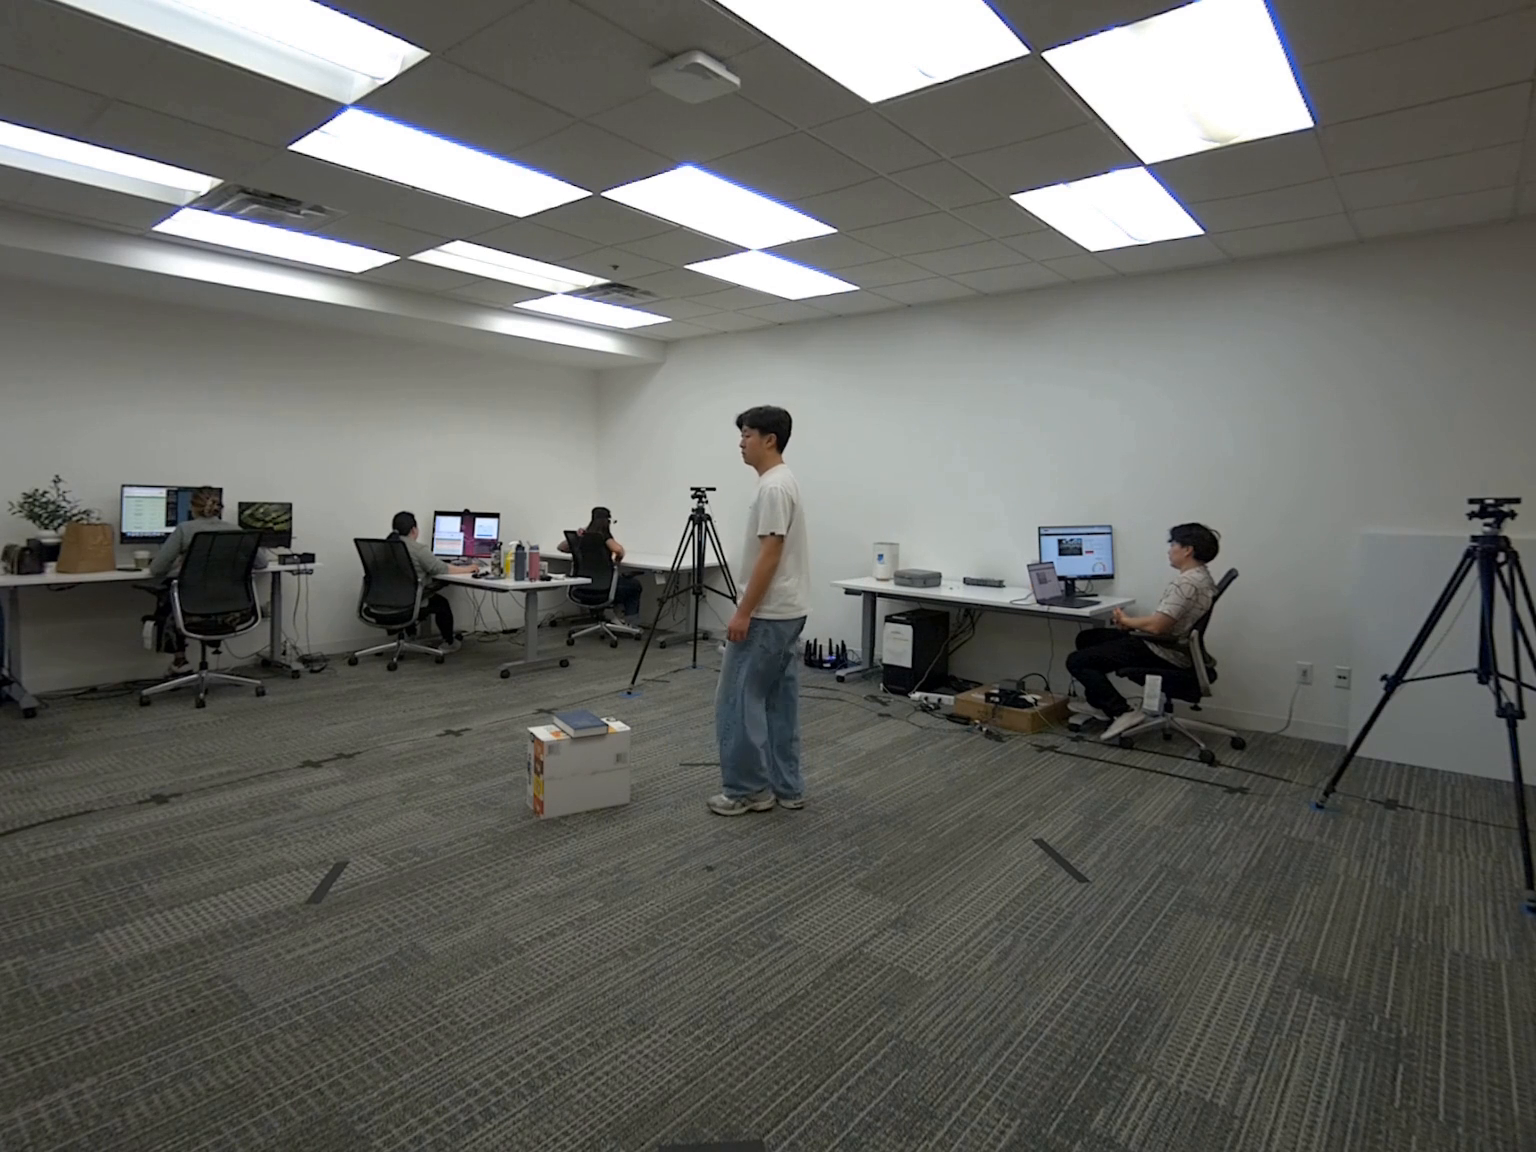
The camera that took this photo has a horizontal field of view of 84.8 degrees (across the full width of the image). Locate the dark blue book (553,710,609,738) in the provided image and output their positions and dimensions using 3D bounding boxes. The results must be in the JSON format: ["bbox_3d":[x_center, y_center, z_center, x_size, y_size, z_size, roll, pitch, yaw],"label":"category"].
[{"bbox_3d":[-0.837,0.640,3.706,0.159,0.045,0.253,-2,8,-34],"label":"dark blue book"}]
